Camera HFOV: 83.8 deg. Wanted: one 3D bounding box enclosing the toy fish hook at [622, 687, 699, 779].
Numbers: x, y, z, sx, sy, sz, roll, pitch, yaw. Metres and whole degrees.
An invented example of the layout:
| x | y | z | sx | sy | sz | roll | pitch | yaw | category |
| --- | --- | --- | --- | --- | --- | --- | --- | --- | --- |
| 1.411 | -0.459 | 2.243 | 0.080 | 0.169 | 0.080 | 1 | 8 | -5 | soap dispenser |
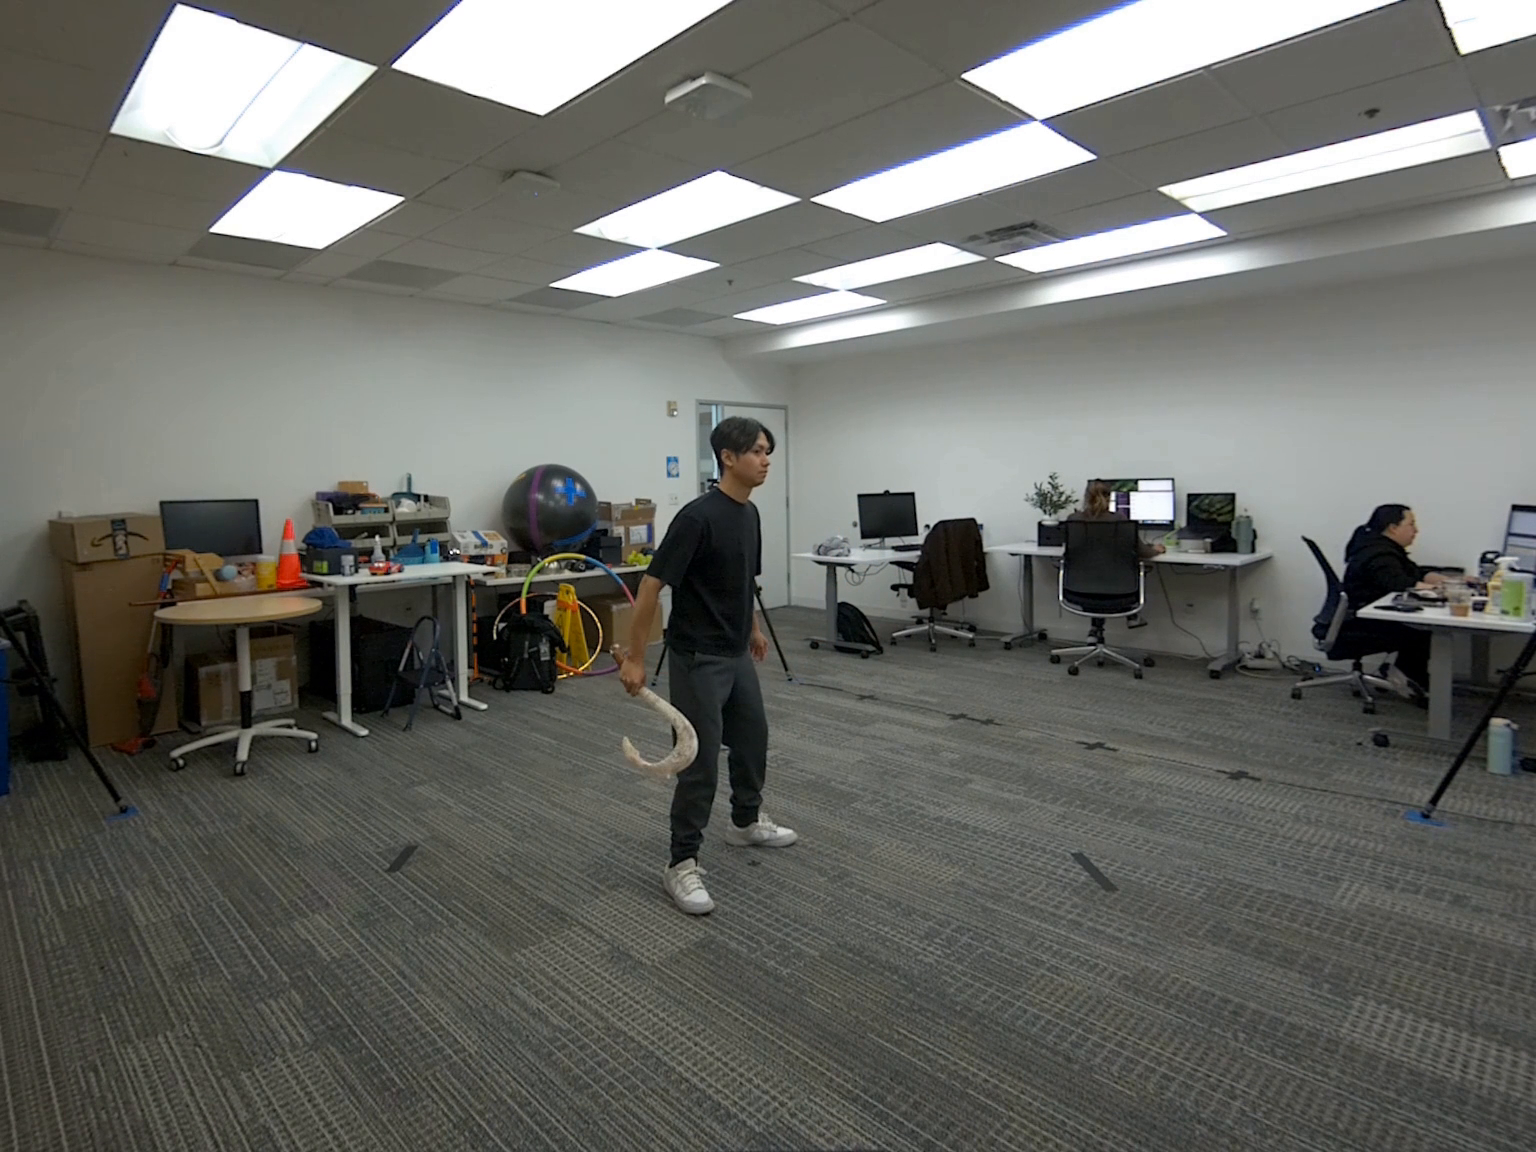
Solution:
| x | y | z | sx | sy | sz | roll | pitch | yaw | category |
| --- | --- | --- | --- | --- | --- | --- | --- | --- | --- |
| -0.391 | 0.427 | 2.779 | 0.223 | 0.047 | 0.525 | -29 | 56 | -20 | toy fish hook |
